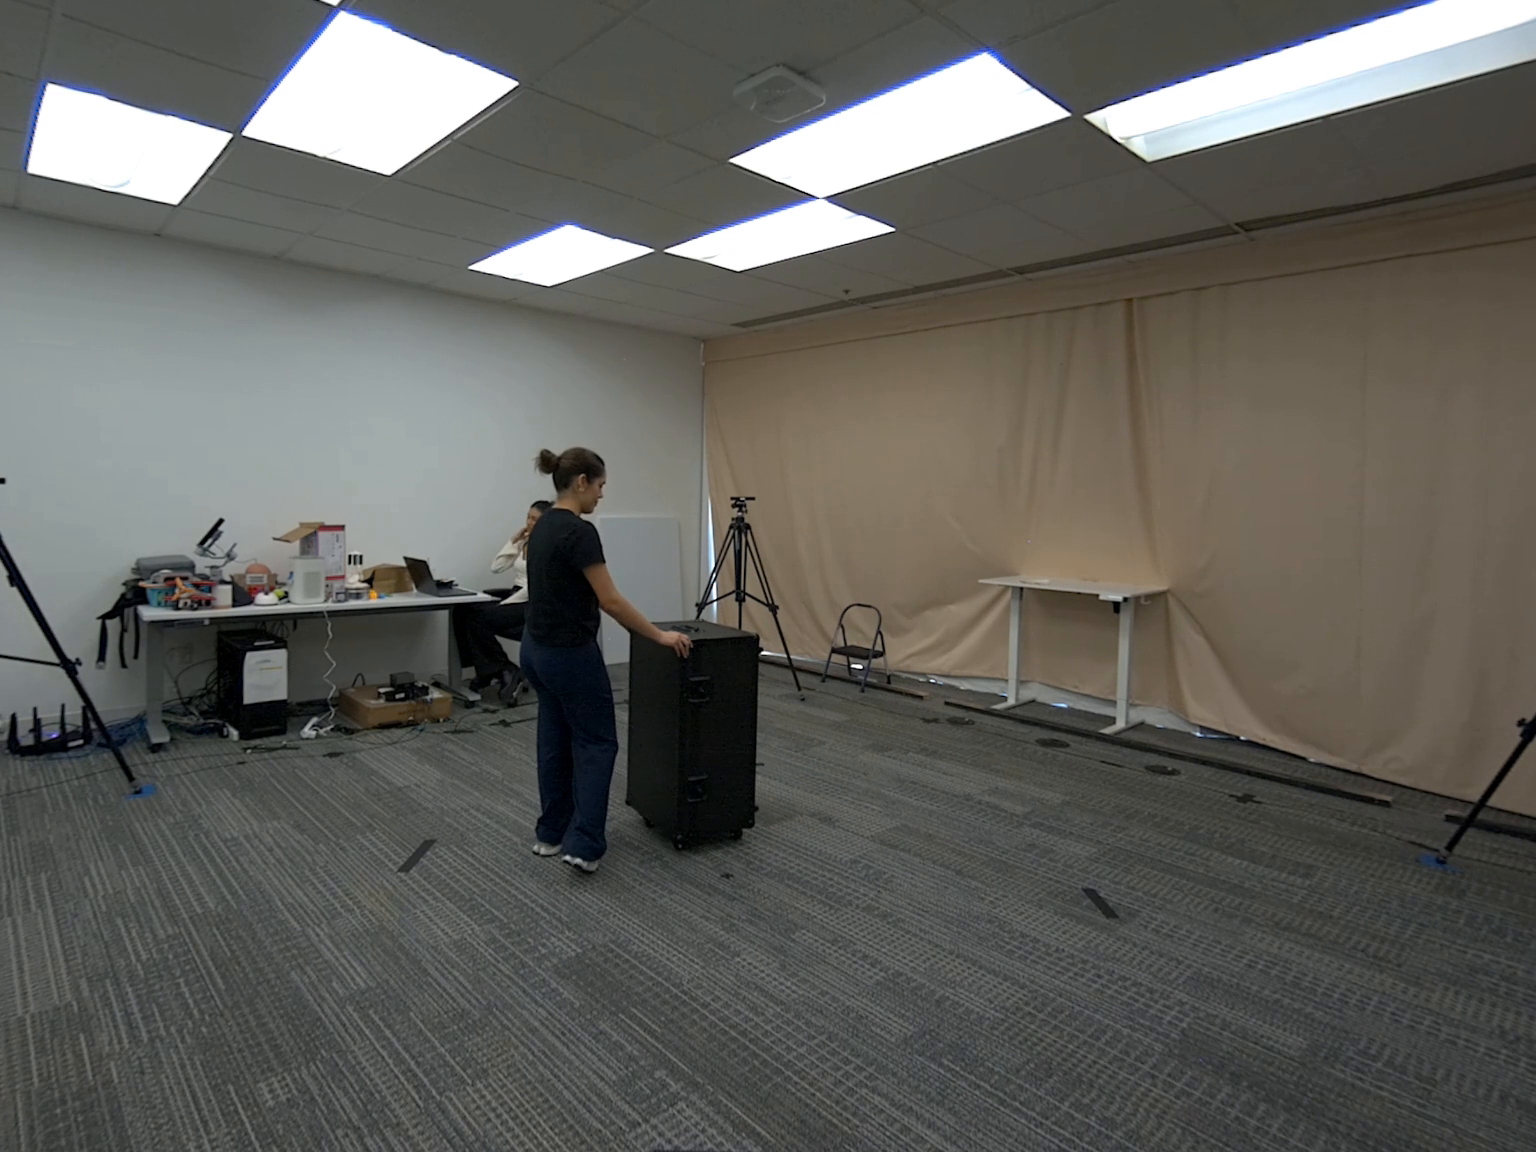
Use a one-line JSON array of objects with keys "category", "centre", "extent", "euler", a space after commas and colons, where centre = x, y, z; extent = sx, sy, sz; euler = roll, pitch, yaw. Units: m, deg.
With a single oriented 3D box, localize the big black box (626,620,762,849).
[{"category": "big black box", "centre": [-0.321, 0.644, 3.489], "extent": [0.388, 0.860, 0.533], "euler": [1, 3, -32]}]
